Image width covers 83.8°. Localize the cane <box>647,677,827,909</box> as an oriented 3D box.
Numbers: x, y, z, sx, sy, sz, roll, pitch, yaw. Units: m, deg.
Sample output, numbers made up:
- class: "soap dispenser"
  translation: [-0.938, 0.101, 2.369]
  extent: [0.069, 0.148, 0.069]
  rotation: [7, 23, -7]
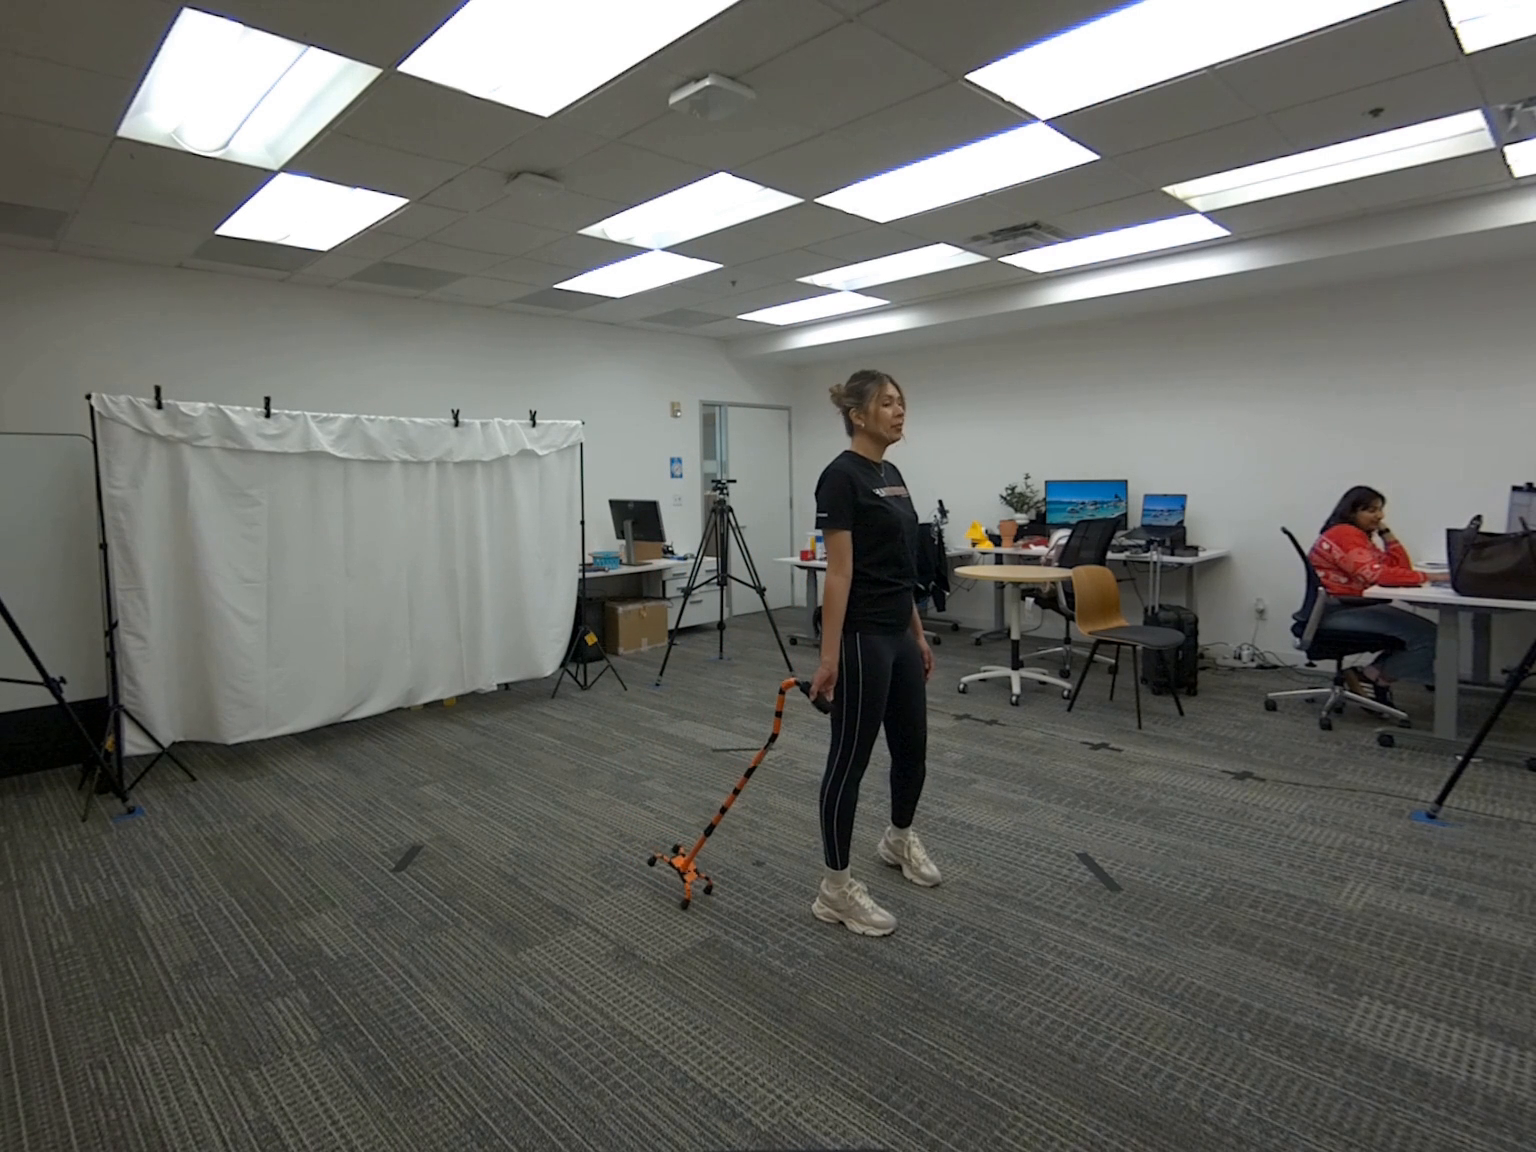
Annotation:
- class: "cane"
  translation: [-0.087, 0.675, 2.696]
  extent: [0.213, 0.902, 0.148]
  rotation: [44, 27, 25]
